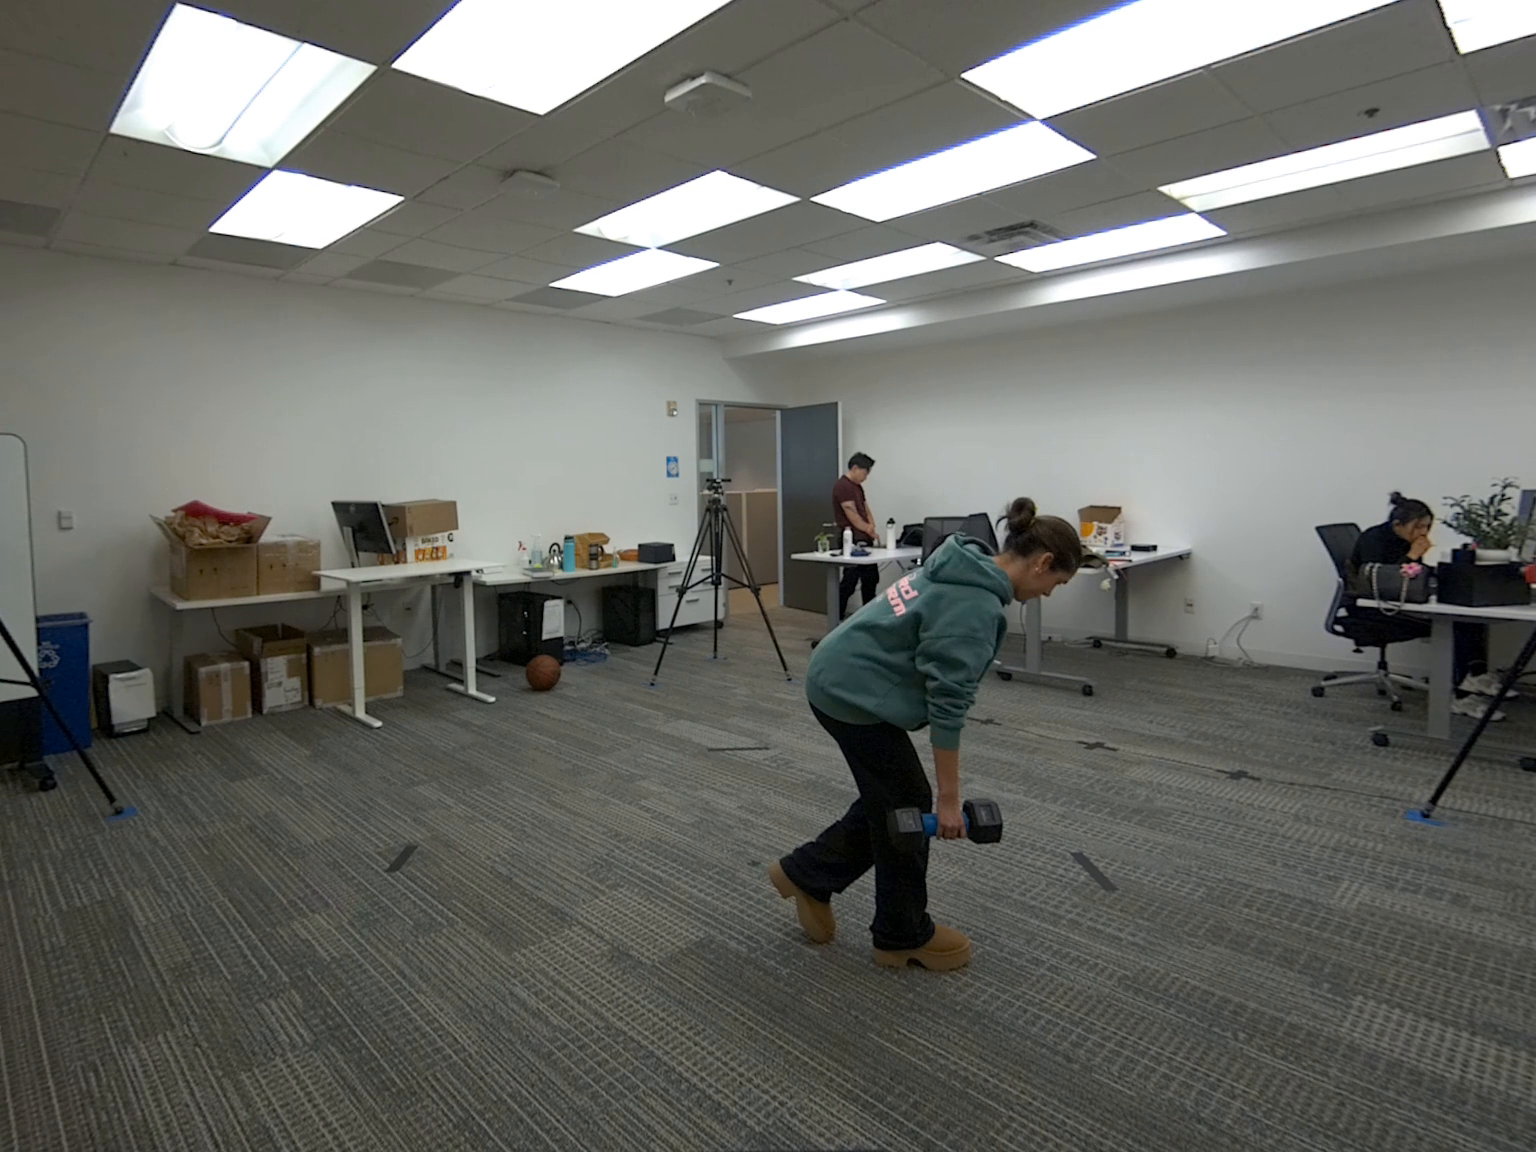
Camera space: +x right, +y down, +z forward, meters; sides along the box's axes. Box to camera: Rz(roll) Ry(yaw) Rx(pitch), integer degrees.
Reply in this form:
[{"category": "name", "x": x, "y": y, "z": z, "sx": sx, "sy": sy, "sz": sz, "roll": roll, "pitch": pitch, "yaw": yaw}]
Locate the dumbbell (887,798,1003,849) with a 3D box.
[{"category": "dumbbell", "x": 0.477, "y": 0.666, "z": 2.295, "sx": 0.292, "sy": 0.120, "sz": 0.111, "roll": -4, "pitch": 24, "yaw": -4}]
